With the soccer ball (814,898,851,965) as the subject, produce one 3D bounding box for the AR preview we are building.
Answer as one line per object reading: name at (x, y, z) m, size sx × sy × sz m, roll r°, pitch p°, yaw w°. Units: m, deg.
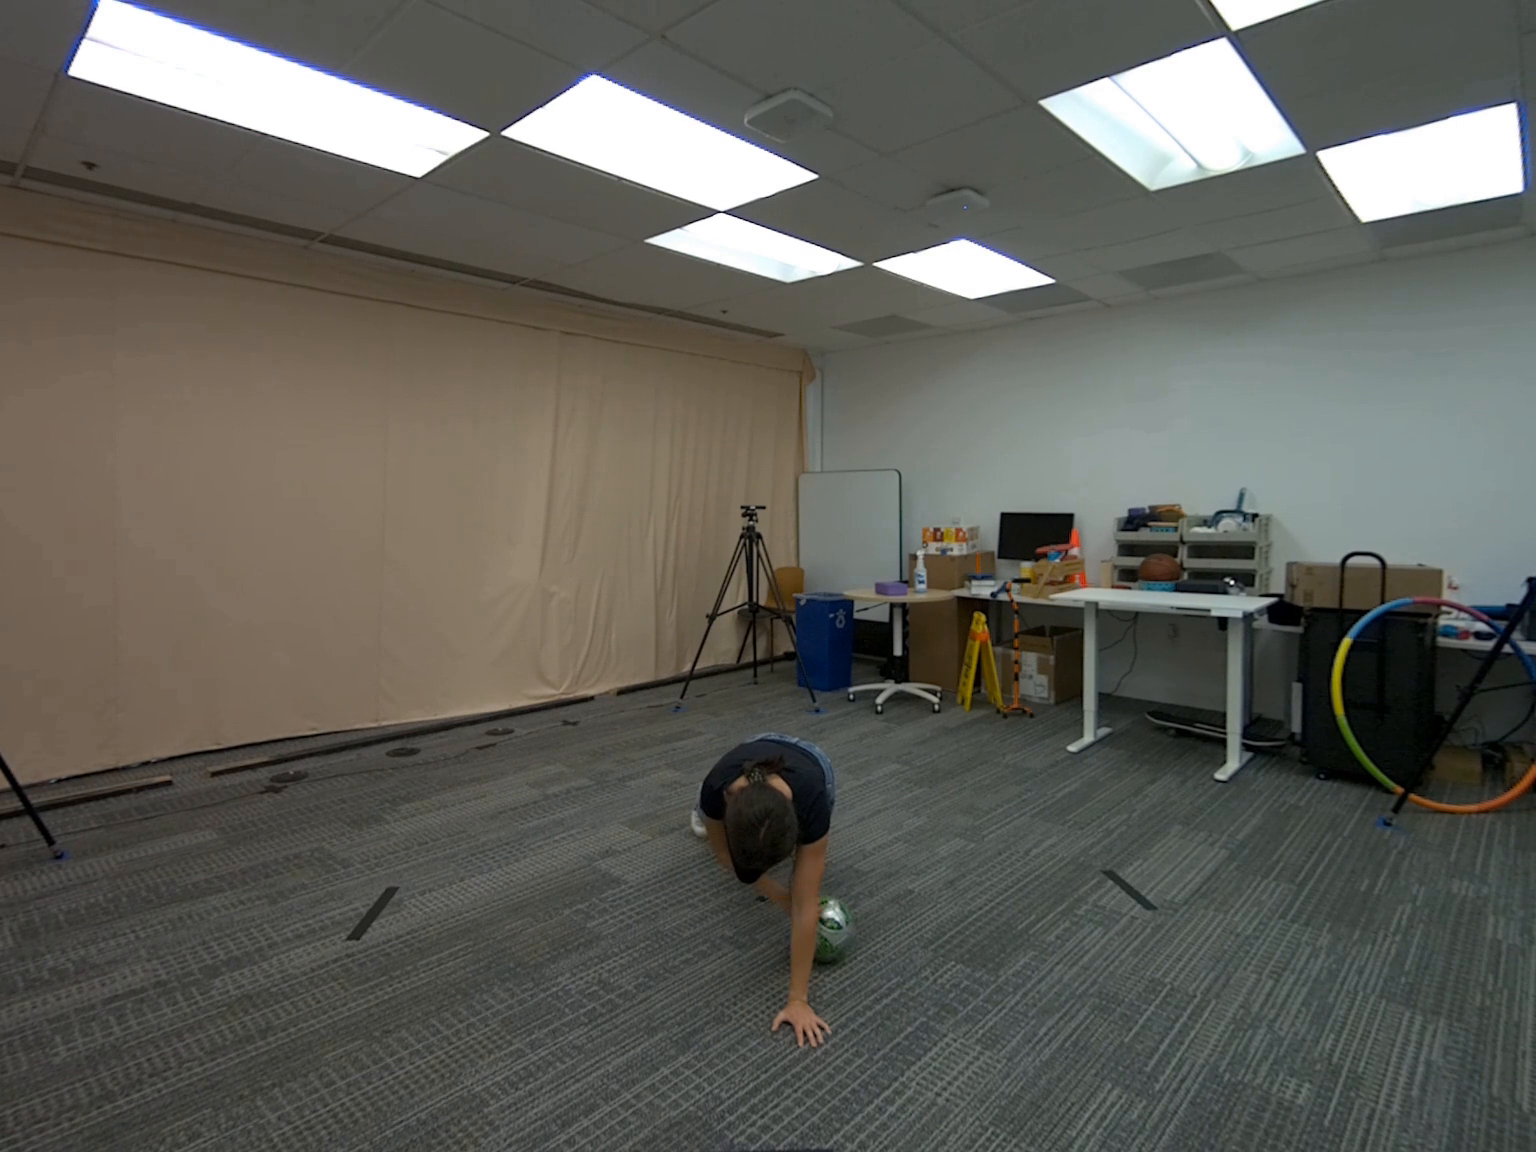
soccer ball at (0.174, 1.077, 2.588) m, size 0.187 × 0.187 × 0.188 m, roll 0°, pitch 4°, yaw -2°
